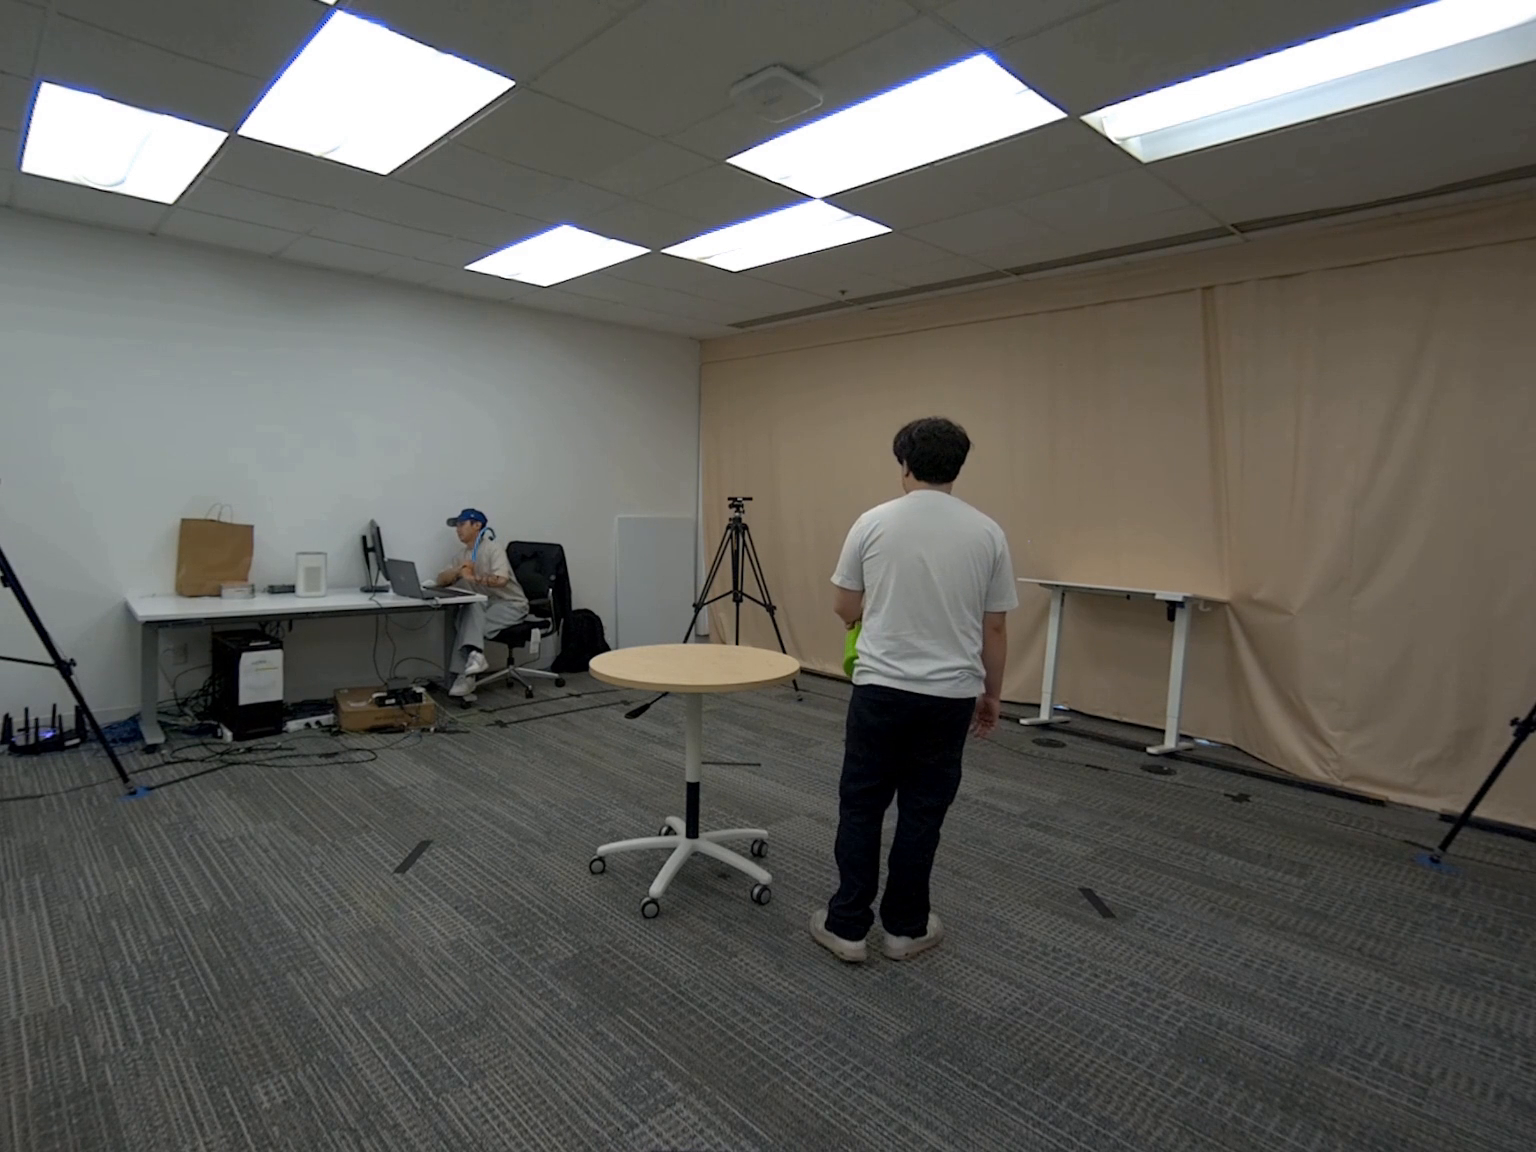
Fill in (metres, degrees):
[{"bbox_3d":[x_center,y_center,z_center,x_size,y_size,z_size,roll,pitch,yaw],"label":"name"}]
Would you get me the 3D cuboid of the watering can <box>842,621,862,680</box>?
[{"bbox_3d":[0.316,0.292,2.973,0.099,0.270,0.180,-4,43,15],"label":"watering can"}]
